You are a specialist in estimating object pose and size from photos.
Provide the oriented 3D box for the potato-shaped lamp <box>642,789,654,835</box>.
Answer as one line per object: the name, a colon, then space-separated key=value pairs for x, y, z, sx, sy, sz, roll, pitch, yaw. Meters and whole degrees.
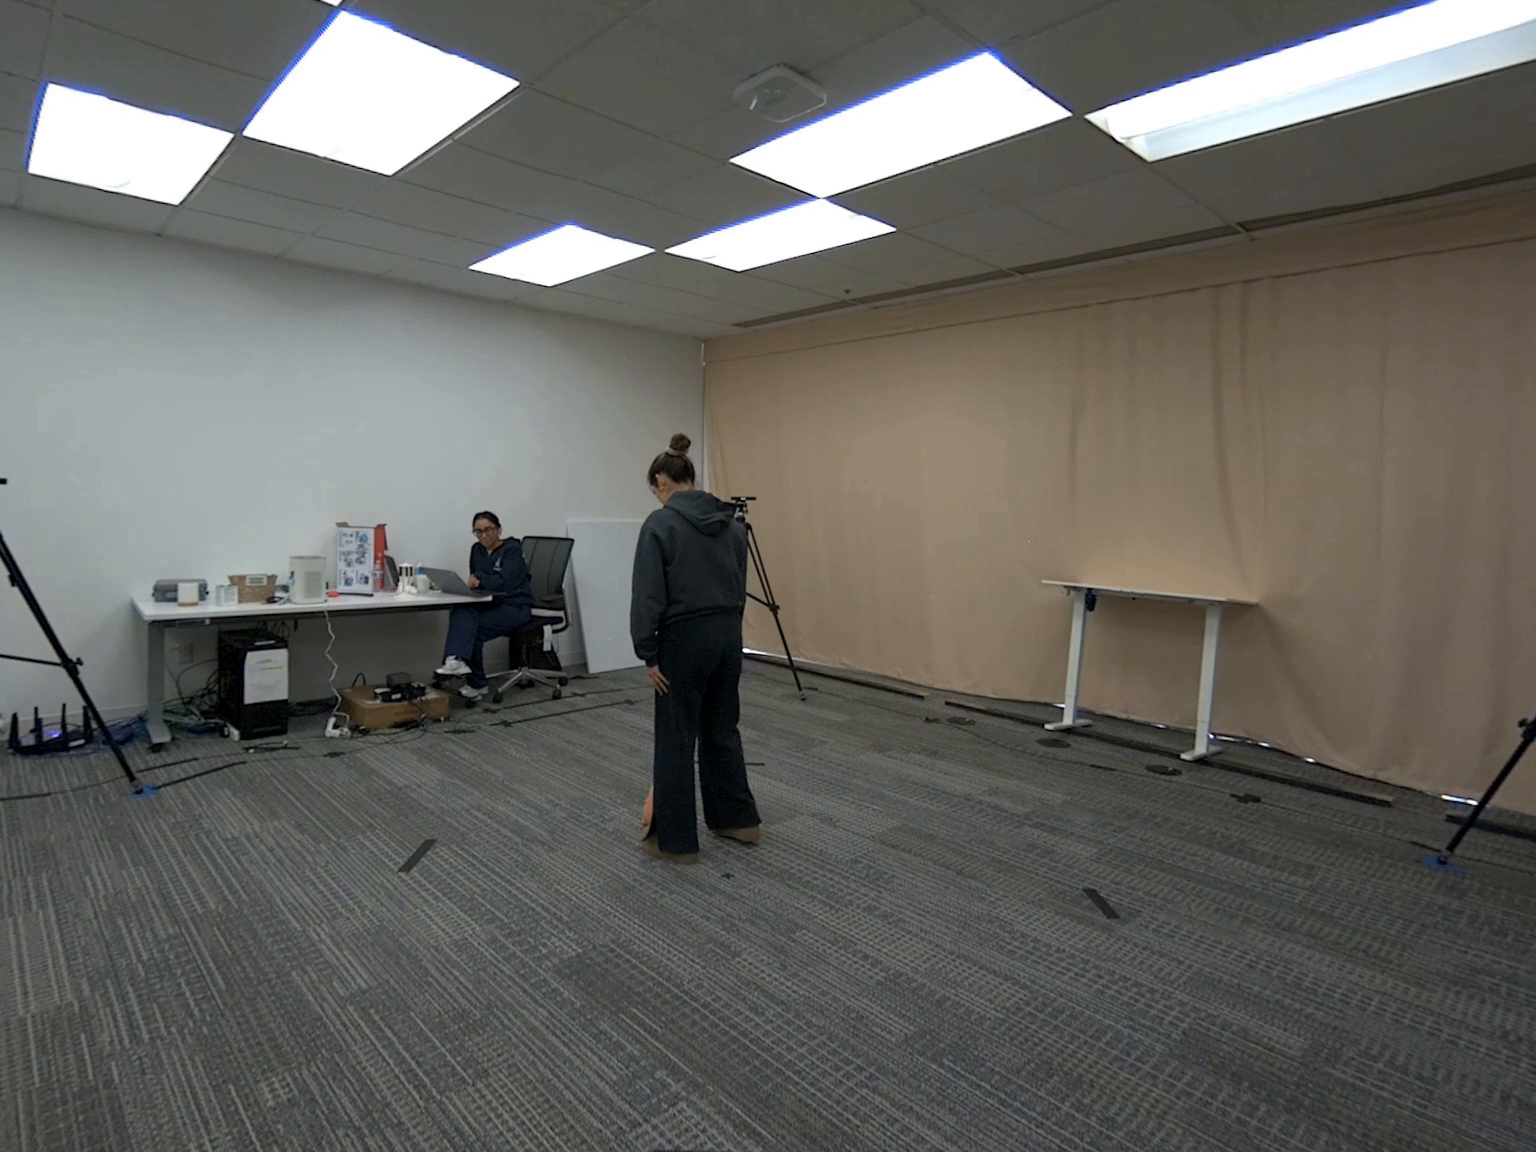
potato-shaped lamp: x=-0.452 y=0.955 z=3.574 sx=0.176 sy=0.197 sz=0.161 roll=6 pitch=6 yaw=38
